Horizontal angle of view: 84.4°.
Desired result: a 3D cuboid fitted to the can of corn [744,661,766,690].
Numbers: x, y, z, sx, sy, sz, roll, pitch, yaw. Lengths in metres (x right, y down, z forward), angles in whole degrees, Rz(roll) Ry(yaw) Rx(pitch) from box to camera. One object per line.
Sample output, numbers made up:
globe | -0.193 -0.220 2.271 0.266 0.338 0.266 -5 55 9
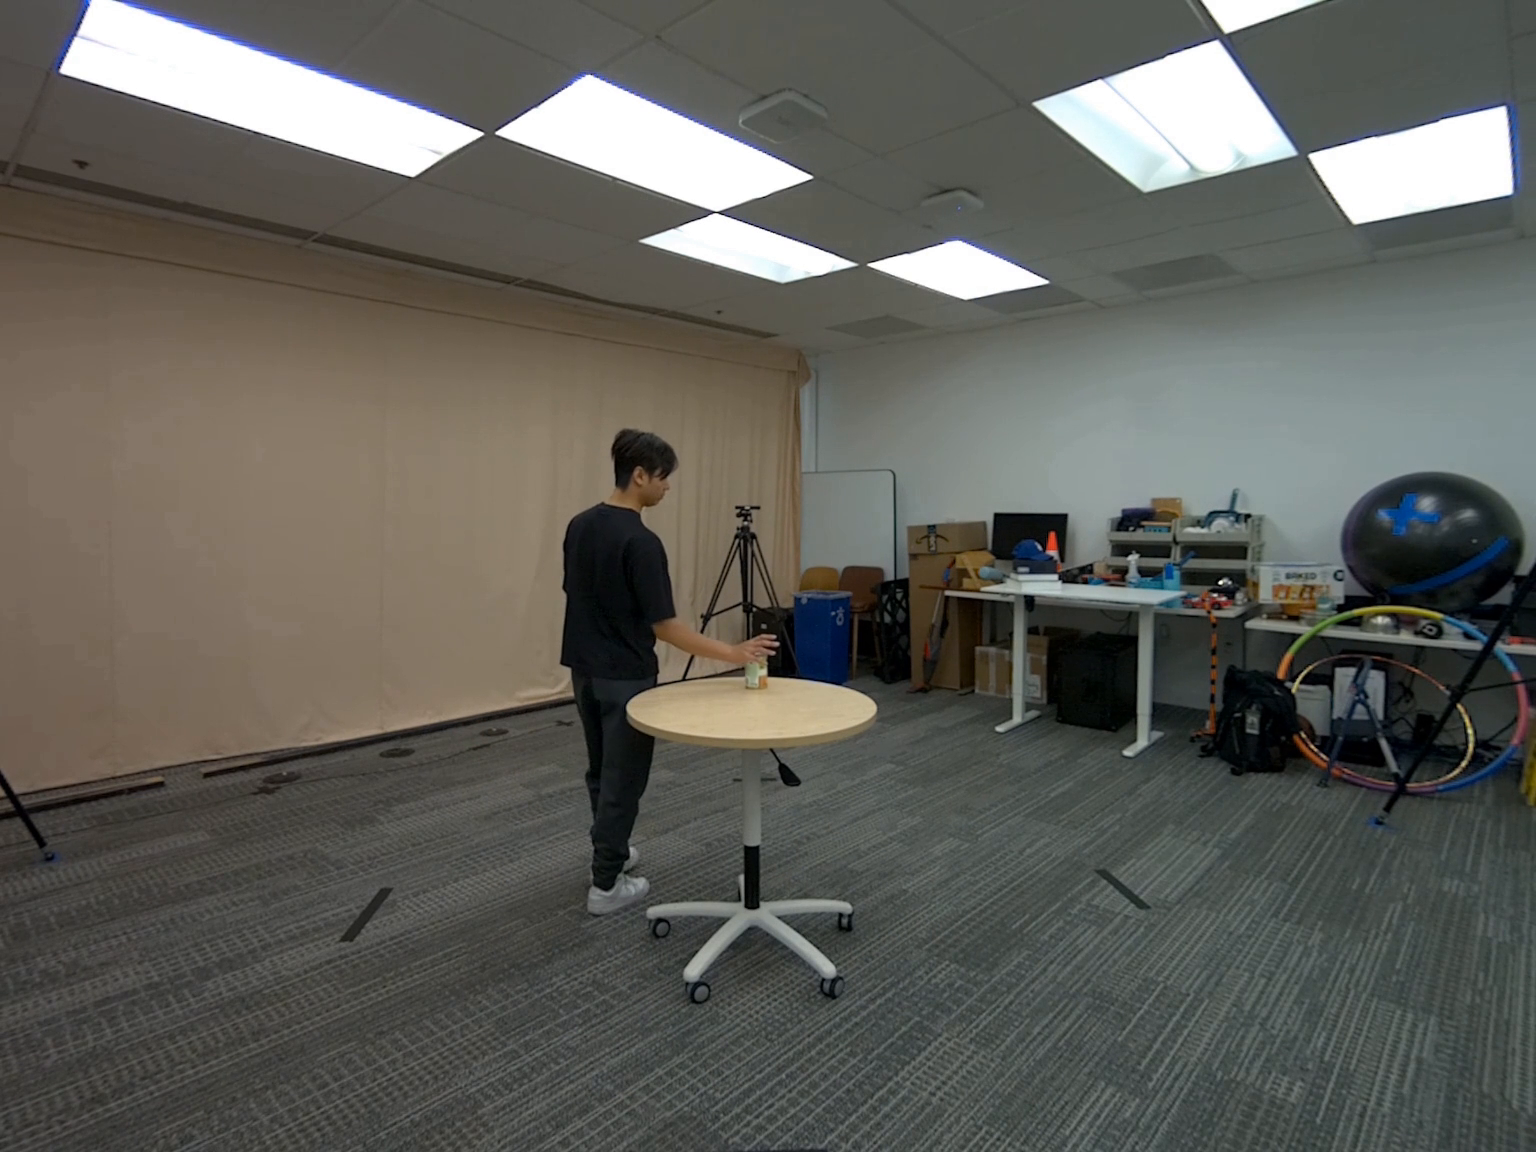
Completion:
can of corn | -0.038 0.320 2.806 0.074 0.111 0.074 -1 2 -2
